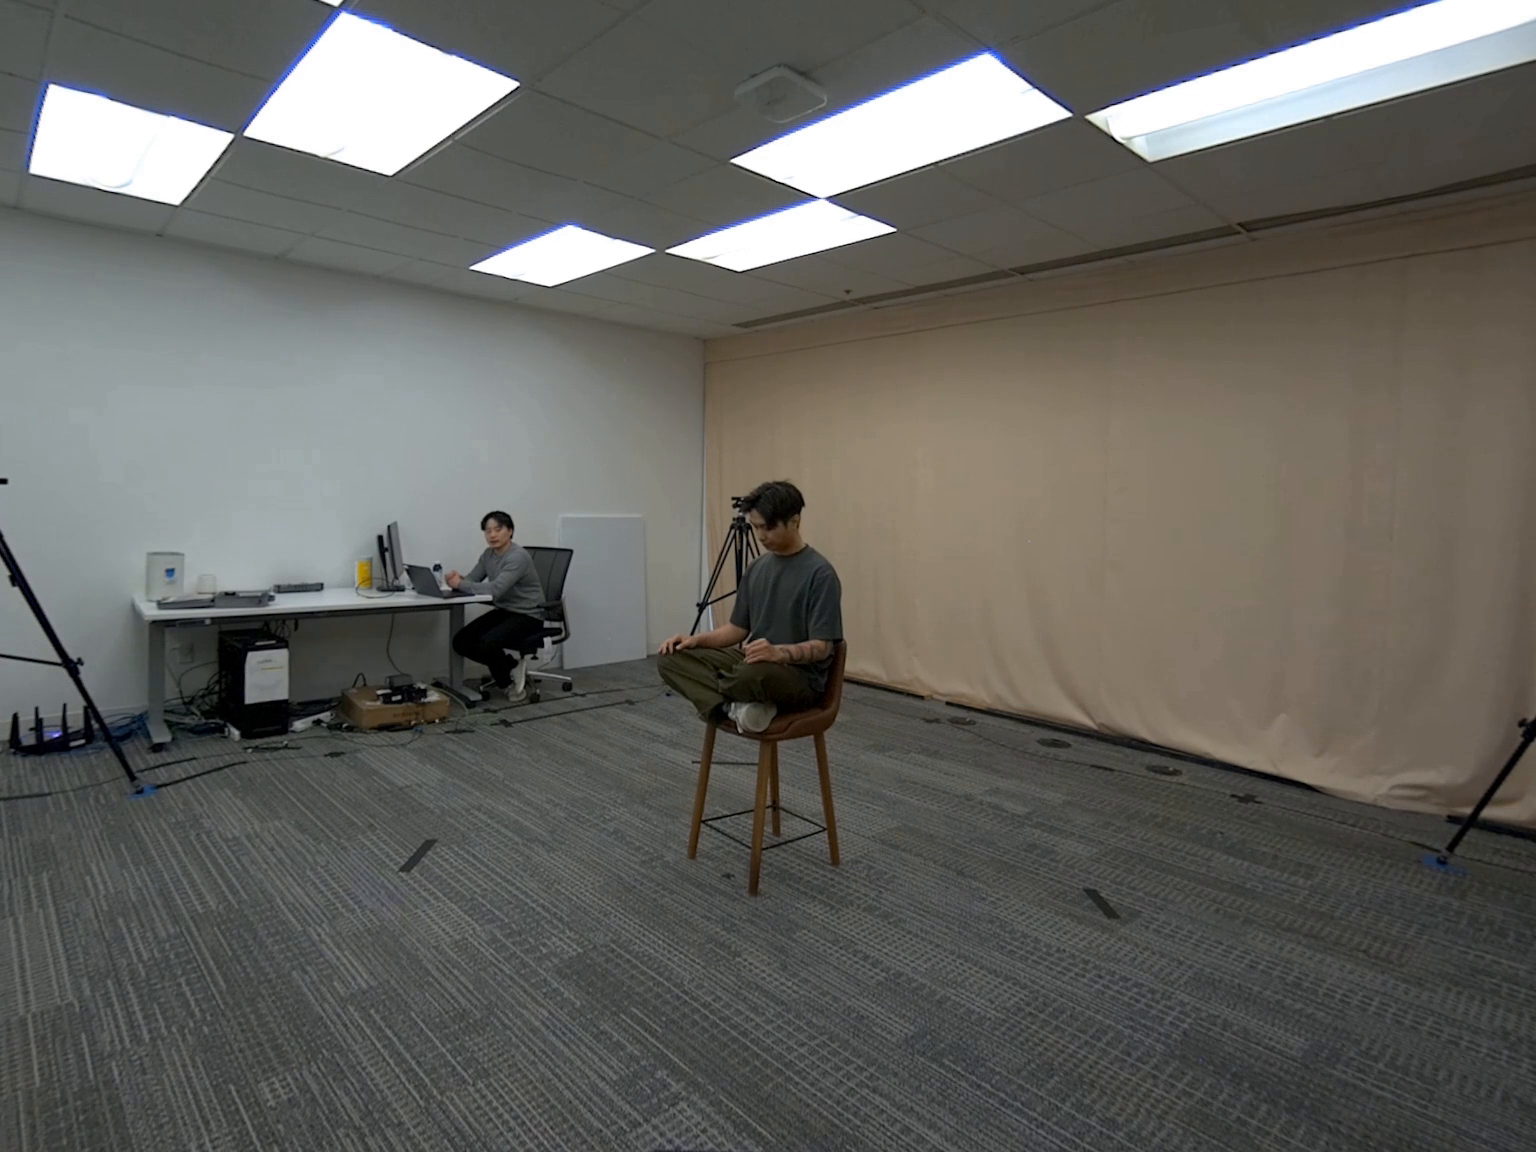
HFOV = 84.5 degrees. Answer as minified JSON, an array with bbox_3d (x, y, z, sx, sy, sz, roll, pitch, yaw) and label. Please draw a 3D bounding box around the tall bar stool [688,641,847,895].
[{"bbox_3d":[0.003,0.664,3.220,0.456,0.889,0.468,2,2,-39],"label":"tall bar stool"}]
